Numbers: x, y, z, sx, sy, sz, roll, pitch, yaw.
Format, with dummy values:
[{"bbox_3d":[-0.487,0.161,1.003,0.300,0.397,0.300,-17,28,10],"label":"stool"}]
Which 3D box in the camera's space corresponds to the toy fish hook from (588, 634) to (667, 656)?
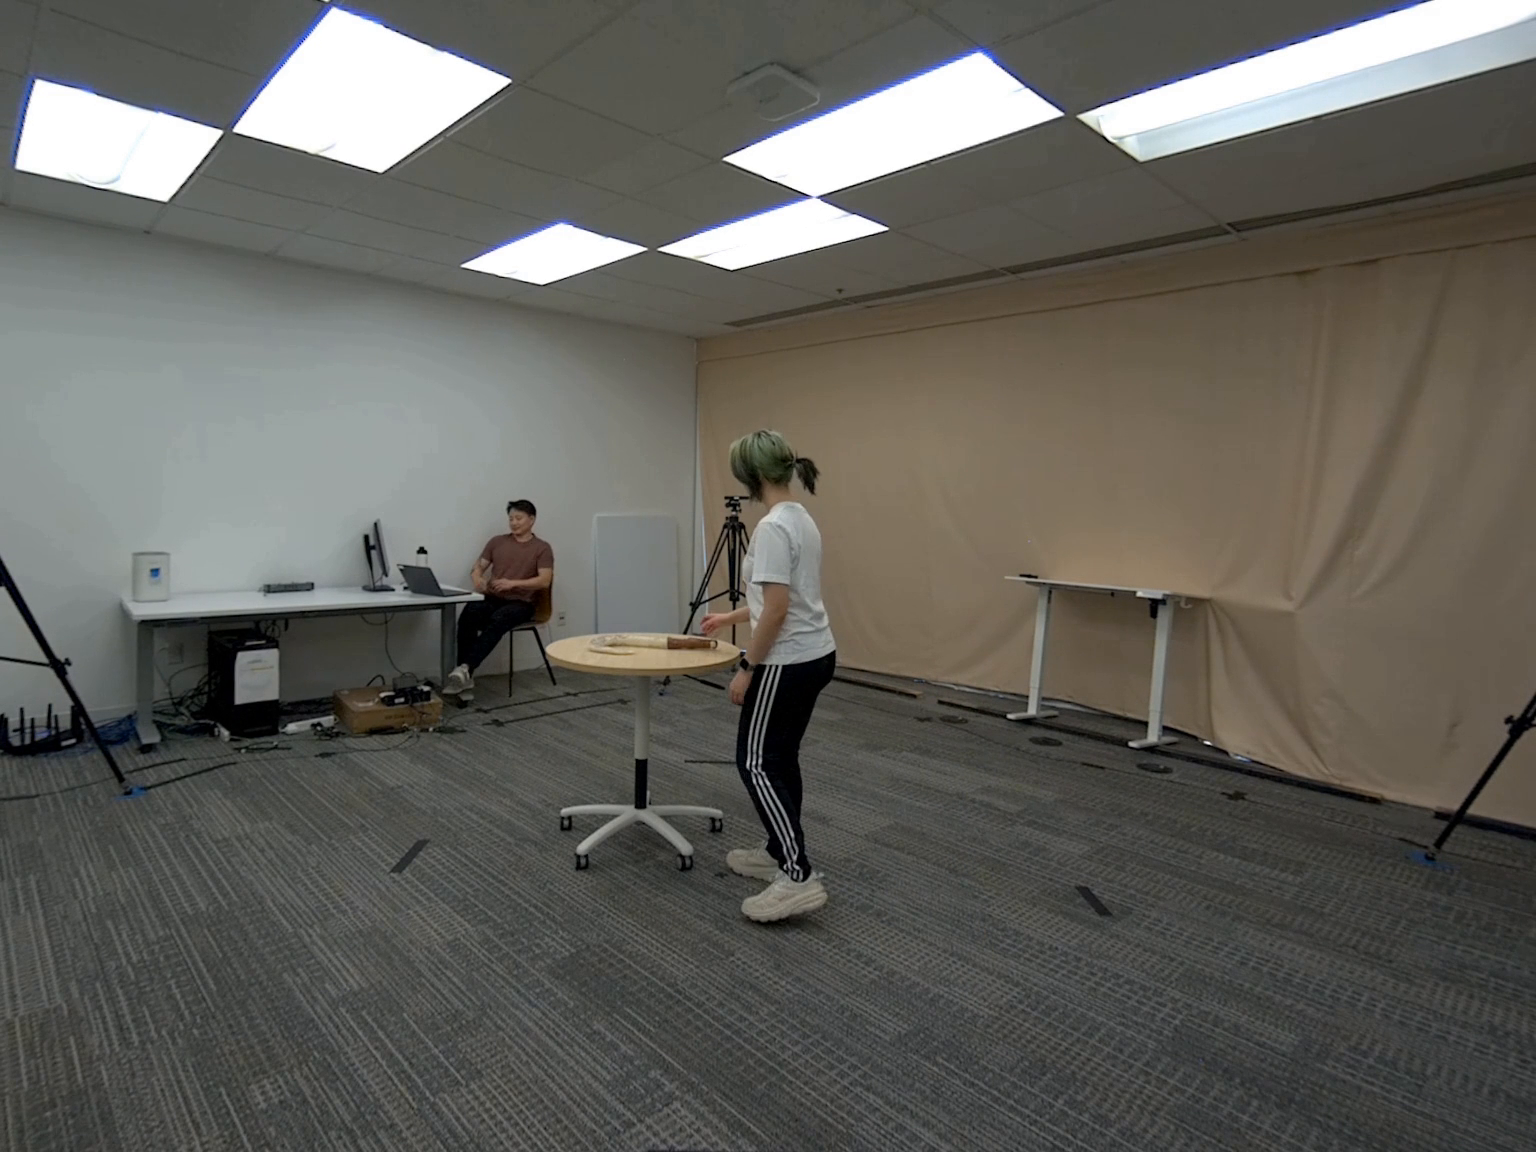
[{"bbox_3d":[-0.456,0.277,3.313,0.506,0.048,0.227,1,12,-2],"label":"toy fish hook"}]
